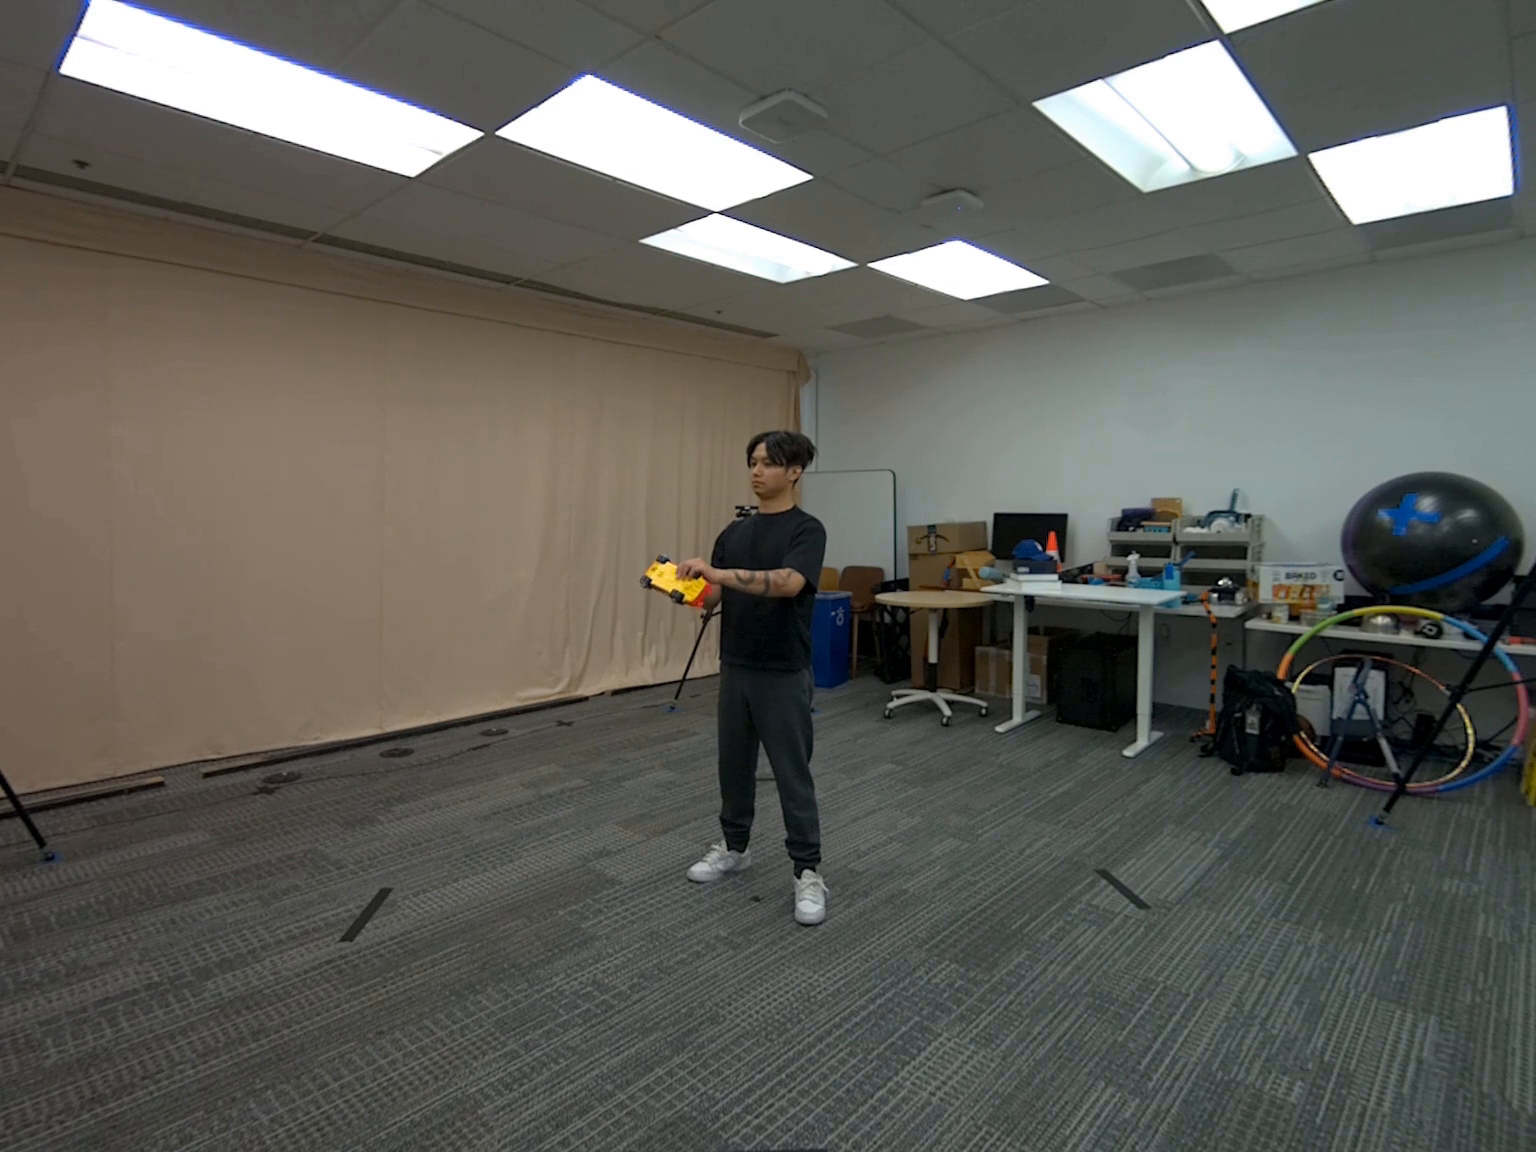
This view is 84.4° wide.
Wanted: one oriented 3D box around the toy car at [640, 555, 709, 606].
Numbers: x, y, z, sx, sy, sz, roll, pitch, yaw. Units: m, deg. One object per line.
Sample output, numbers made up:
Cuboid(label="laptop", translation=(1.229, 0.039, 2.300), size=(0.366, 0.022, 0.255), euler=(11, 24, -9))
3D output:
Cuboid(label="toy car", translation=(-0.281, 0.024, 2.649), size=(0.263, 0.130, 0.081), euler=(27, -20, 29))
